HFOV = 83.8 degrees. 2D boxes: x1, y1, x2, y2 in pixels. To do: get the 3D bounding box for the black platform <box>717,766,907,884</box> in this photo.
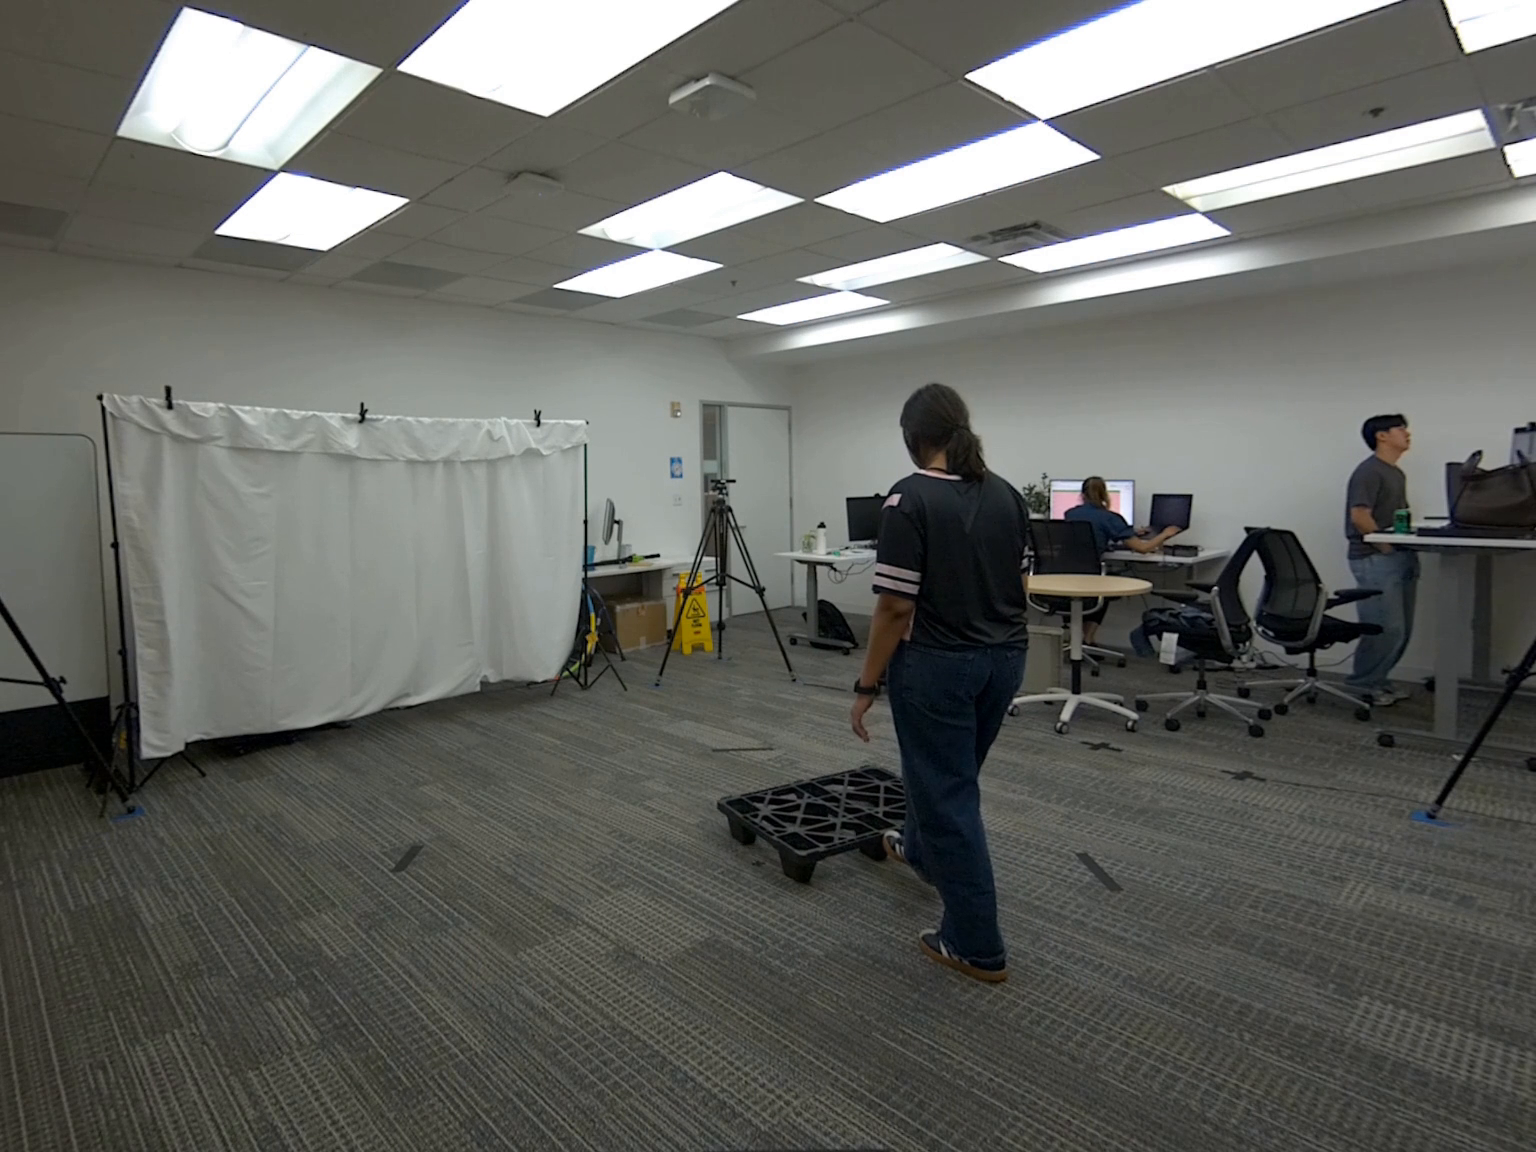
[{"bbox_3d":[0.288,0.950,3.318,0.787,0.143,0.622,-4,6,-30],"label":"black platform"}]
